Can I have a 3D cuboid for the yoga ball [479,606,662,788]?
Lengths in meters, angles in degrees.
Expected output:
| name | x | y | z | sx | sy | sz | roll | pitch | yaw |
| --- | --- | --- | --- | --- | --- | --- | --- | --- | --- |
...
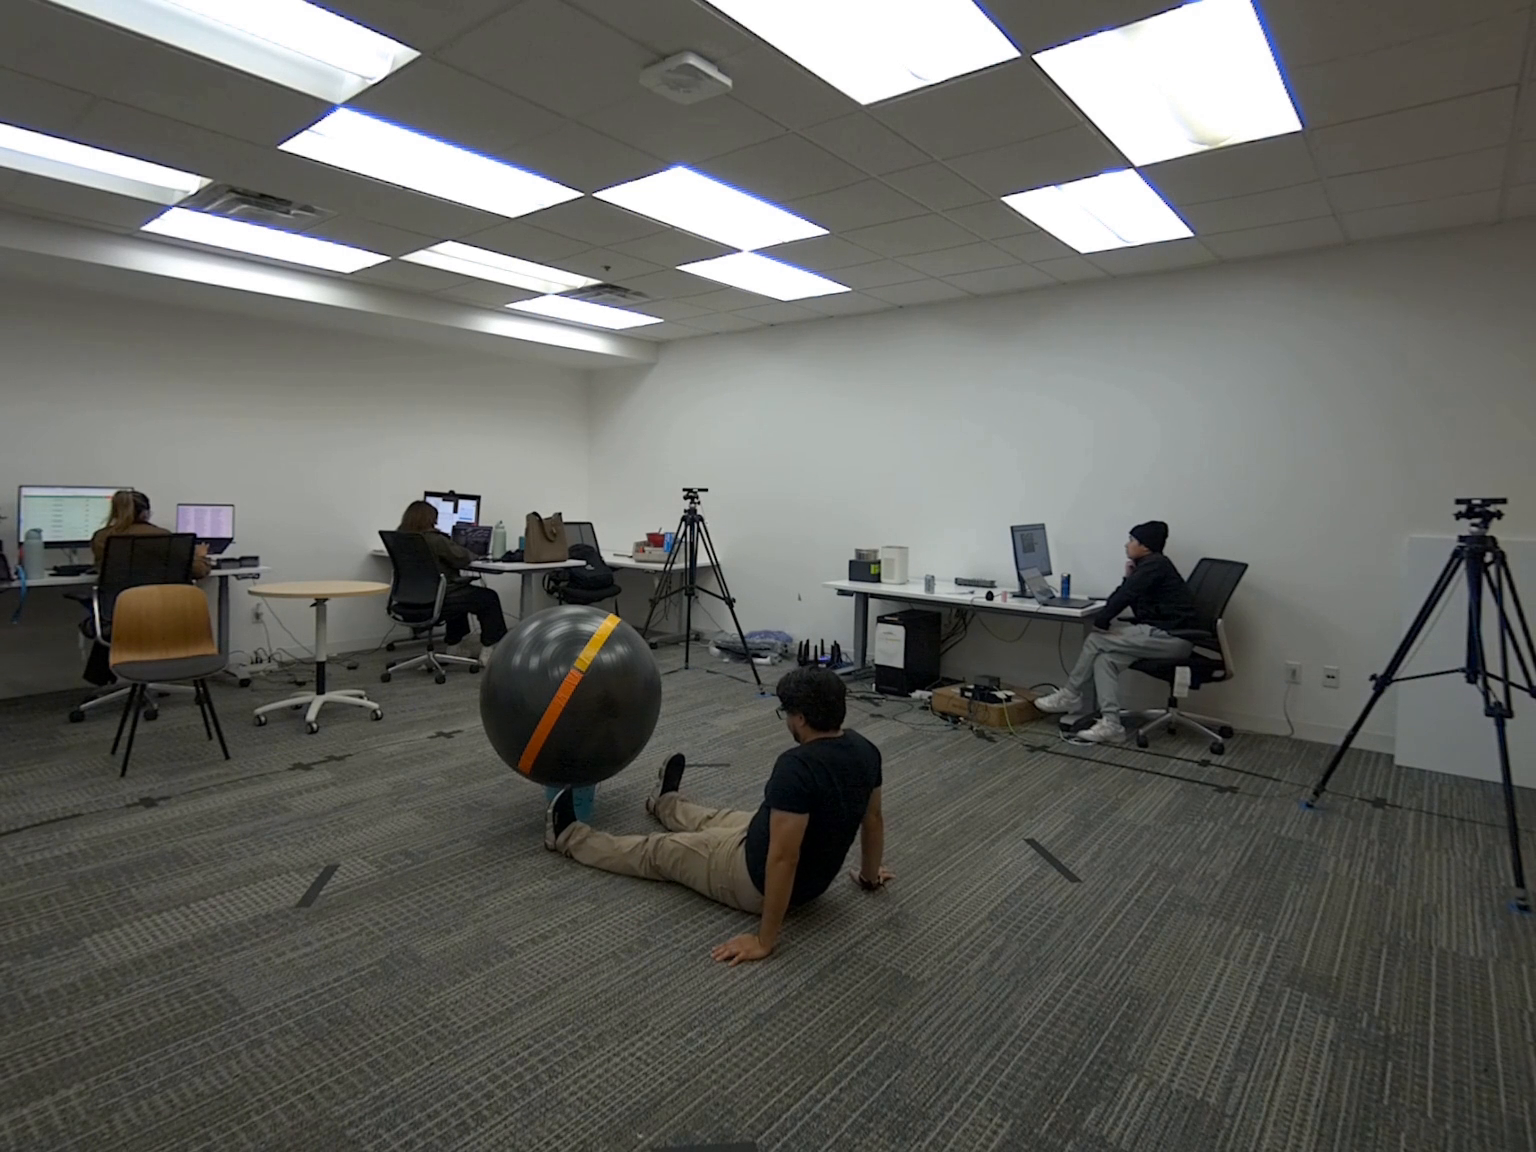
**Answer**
| name | x | y | z | sx | sy | sz | roll | pitch | yaw |
| --- | --- | --- | --- | --- | --- | --- | --- | --- | --- |
| yoga ball | -0.842 | 0.505 | 3.595 | 0.757 | 0.755 | 0.762 | 1 | 4 | -2 |
